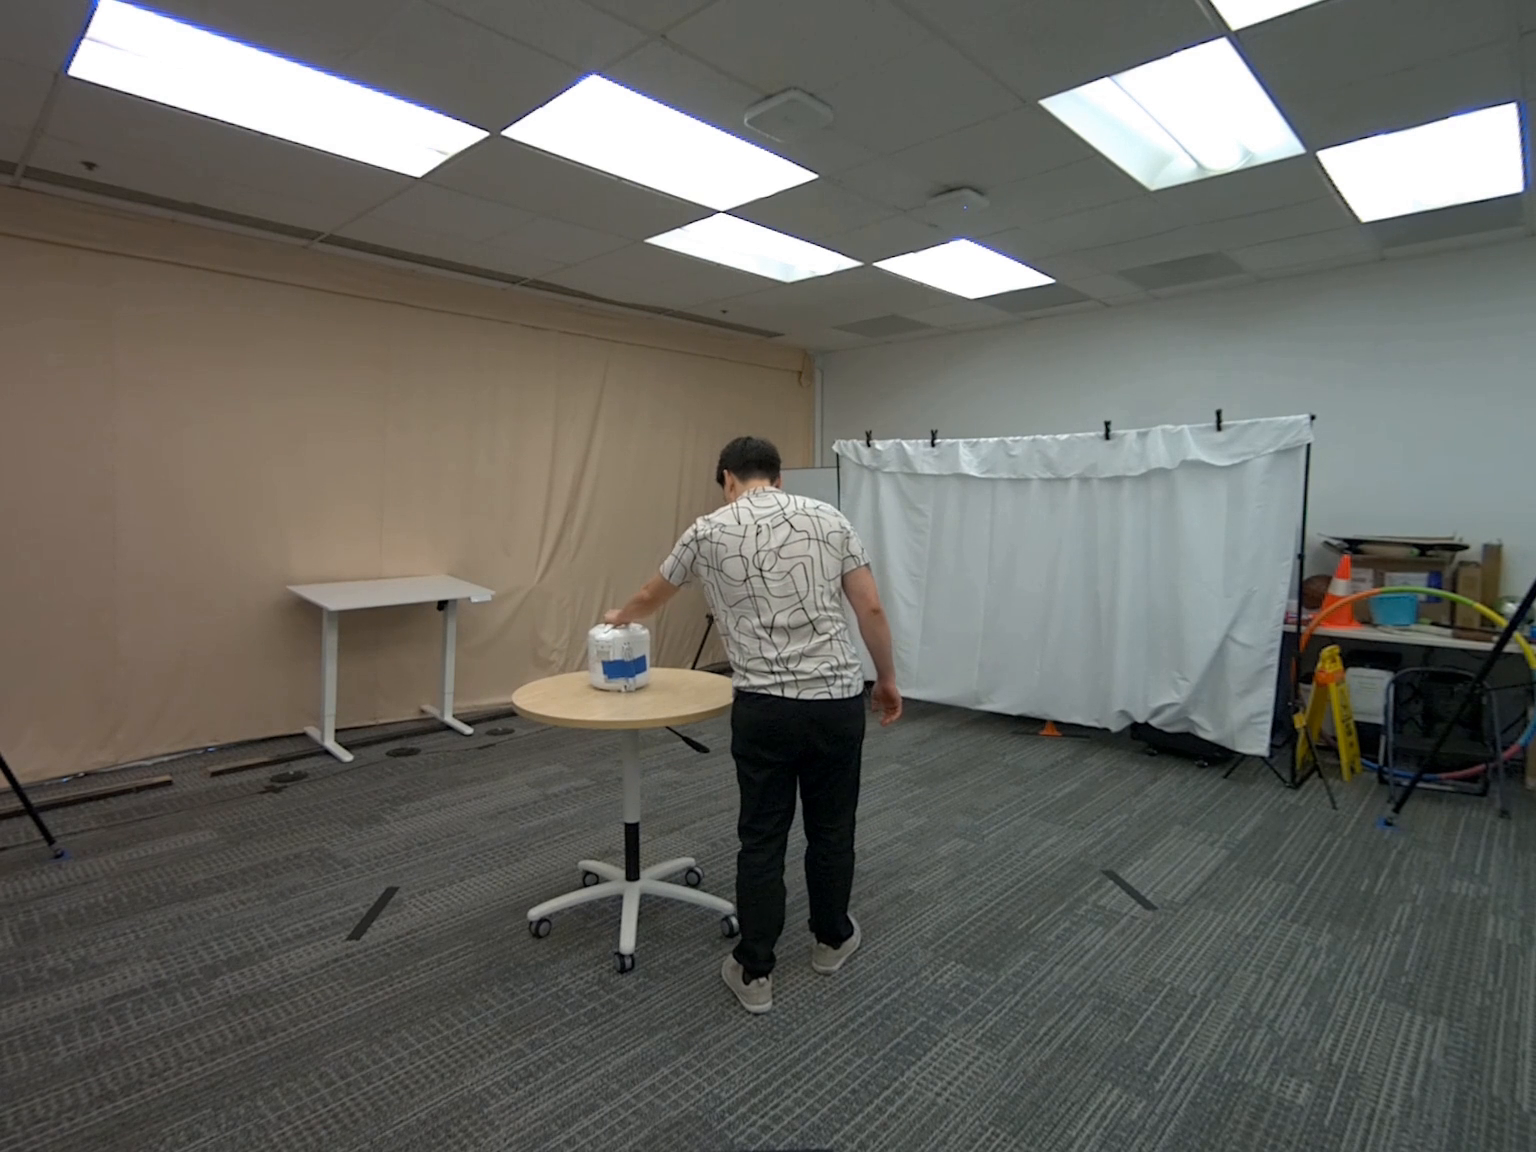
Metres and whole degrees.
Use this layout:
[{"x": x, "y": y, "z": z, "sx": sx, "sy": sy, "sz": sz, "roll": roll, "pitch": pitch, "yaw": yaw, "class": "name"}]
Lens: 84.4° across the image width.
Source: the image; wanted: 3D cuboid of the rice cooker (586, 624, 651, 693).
[{"x": -0.507, "y": 0.261, "z": 2.856, "sx": 0.222, "sy": 0.232, "sz": 0.216, "roll": 3, "pitch": 4, "yaw": 22, "class": "rice cooker"}]
